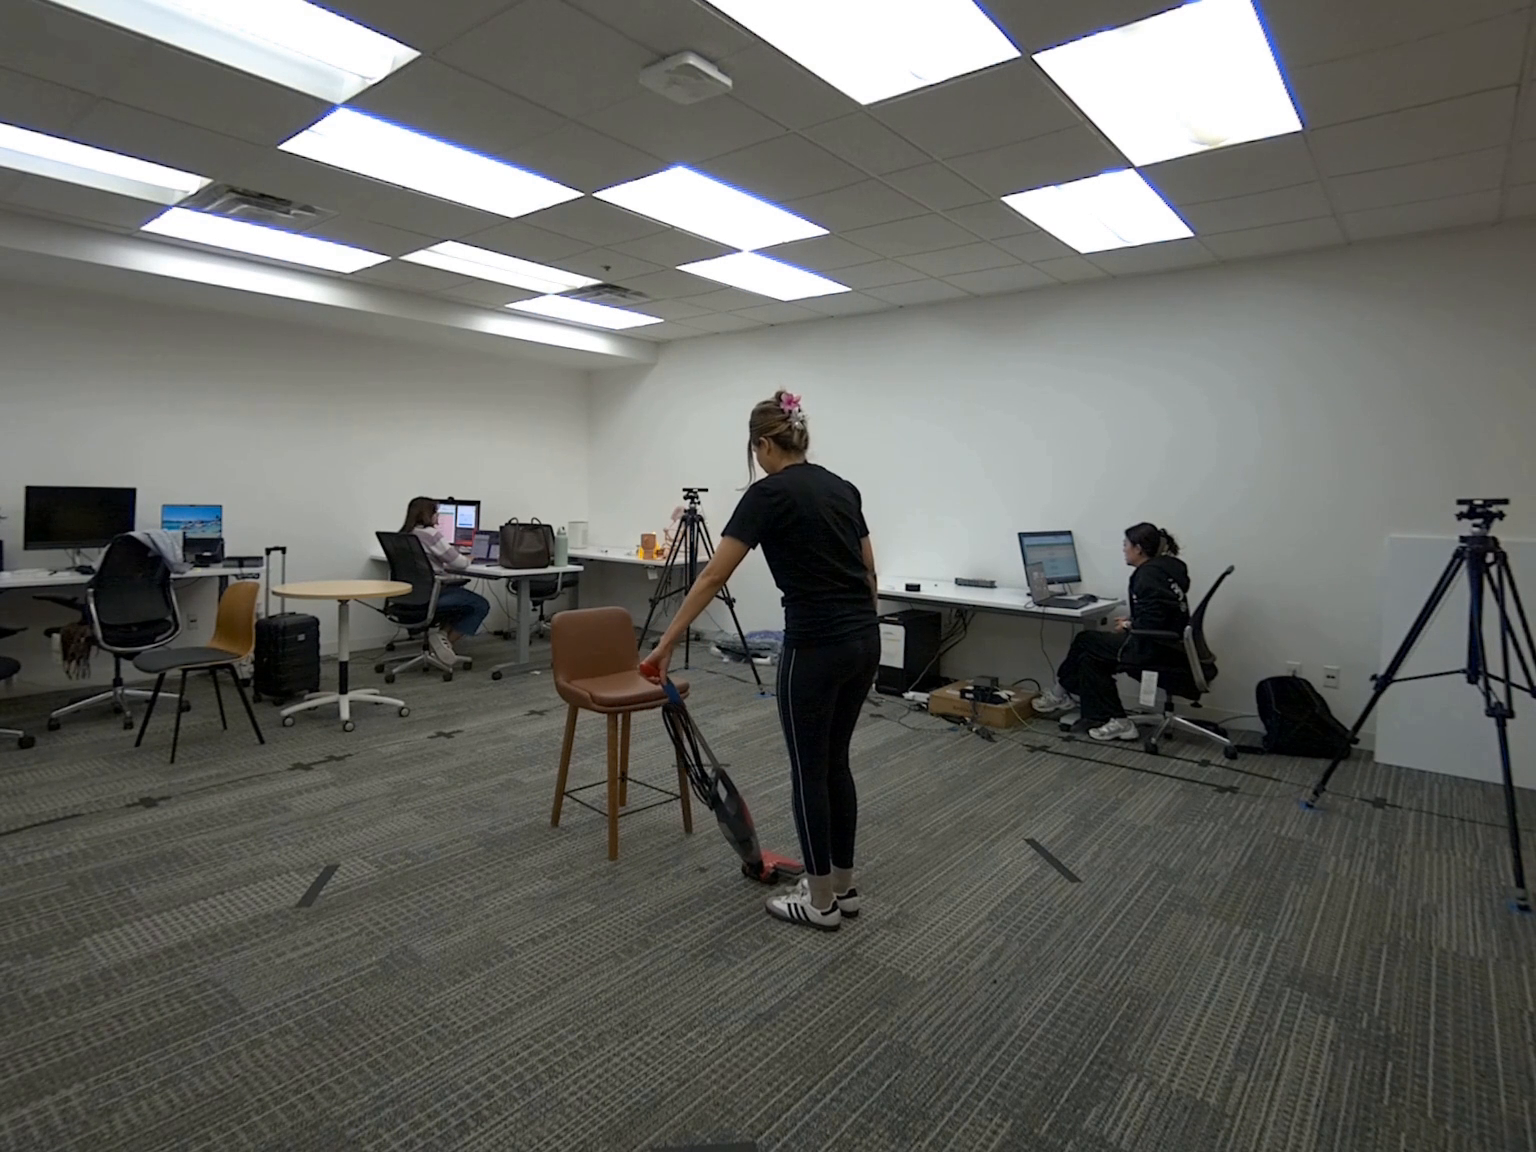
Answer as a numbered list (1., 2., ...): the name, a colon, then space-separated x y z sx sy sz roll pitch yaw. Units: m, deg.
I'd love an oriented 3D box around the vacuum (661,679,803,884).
1. vacuum: -0.205 0.673 2.820 0.261 1.013 0.144 4 43 41
